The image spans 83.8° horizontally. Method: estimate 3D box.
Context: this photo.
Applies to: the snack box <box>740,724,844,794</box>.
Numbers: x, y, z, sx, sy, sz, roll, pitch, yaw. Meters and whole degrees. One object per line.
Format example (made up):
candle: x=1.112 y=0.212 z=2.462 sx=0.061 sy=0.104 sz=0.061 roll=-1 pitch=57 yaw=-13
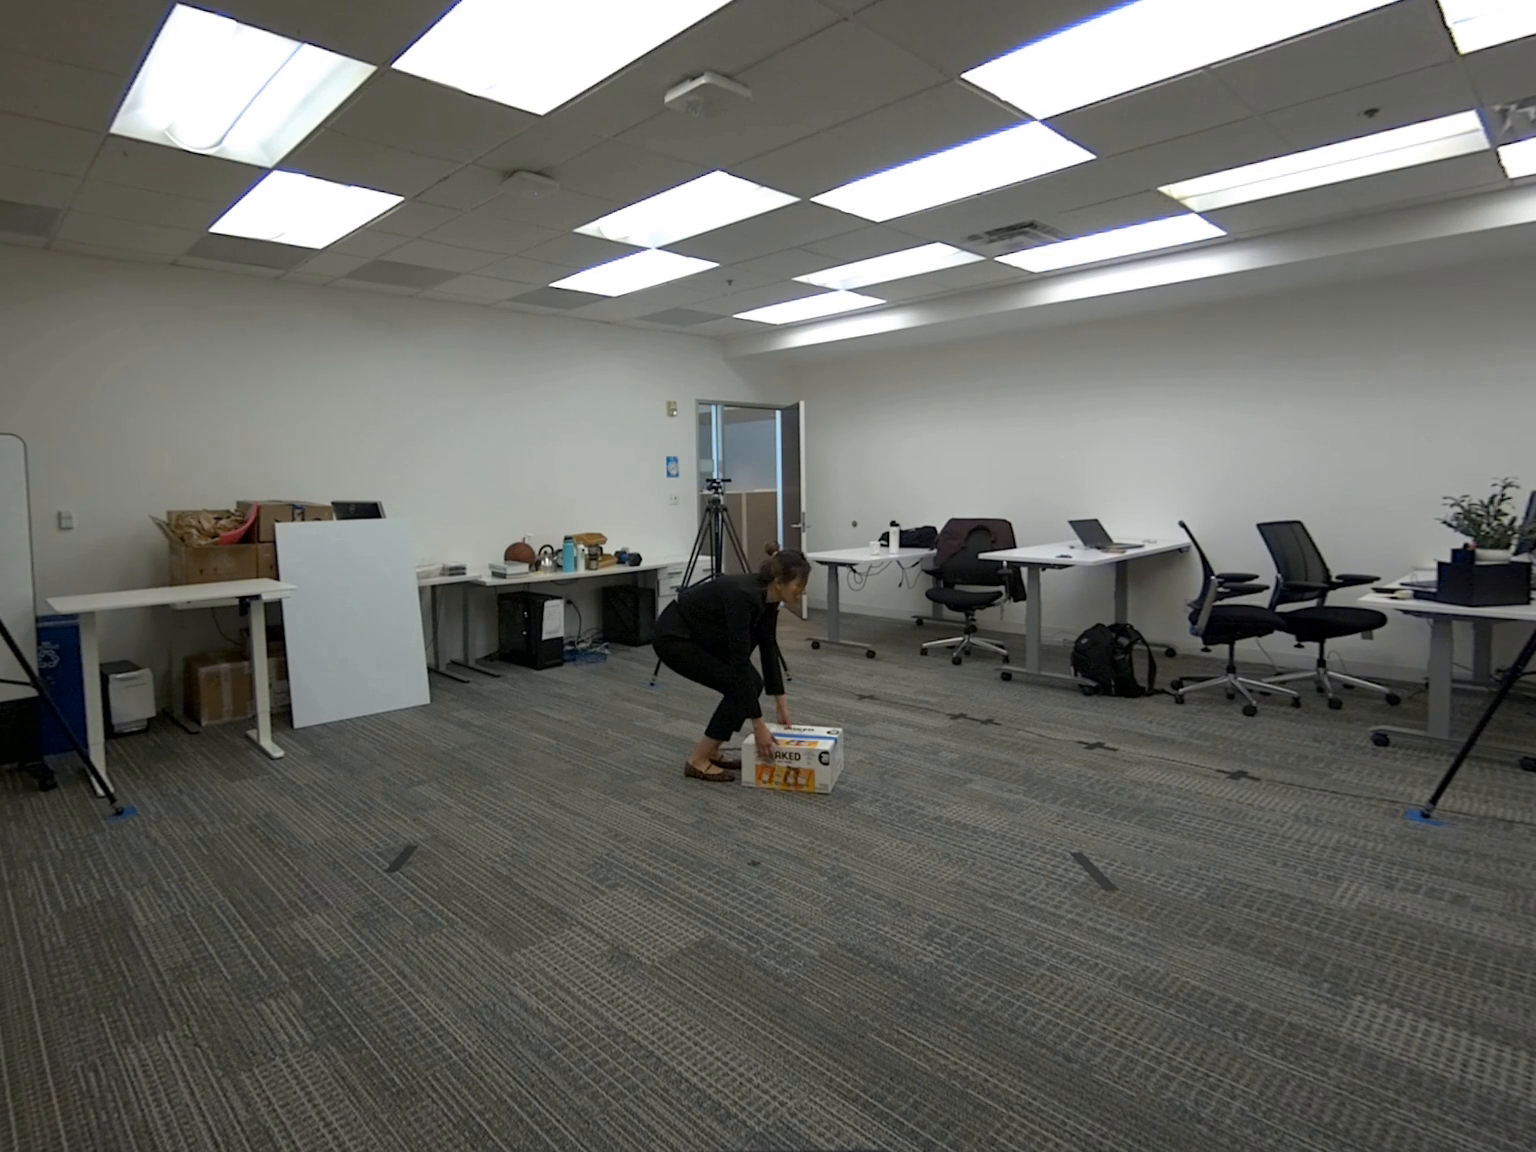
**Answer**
snack box: x=0.121 y=0.841 z=3.984 sx=0.412 sy=0.205 sz=0.336 roll=0 pitch=6 yaw=17
